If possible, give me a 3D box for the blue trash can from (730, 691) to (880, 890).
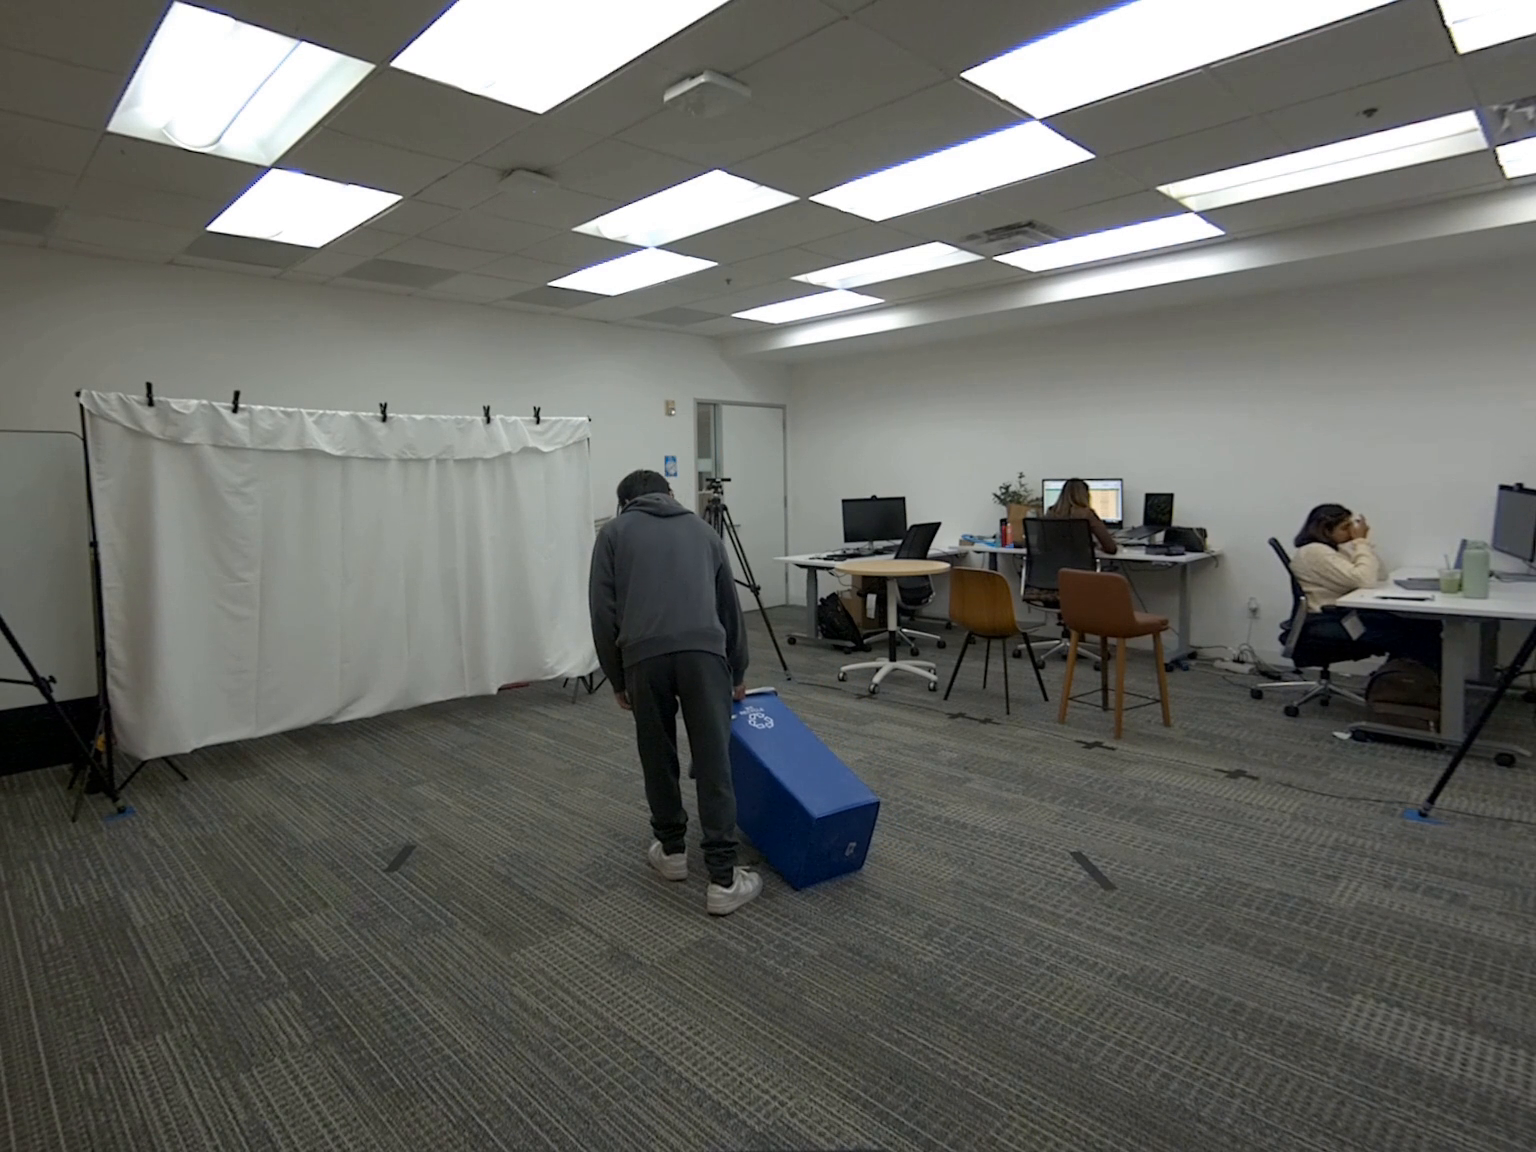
[{"bbox_3d":[0.052,0.771,3.196,0.364,0.373,0.742,-3,25,-35],"label":"blue trash can"}]
